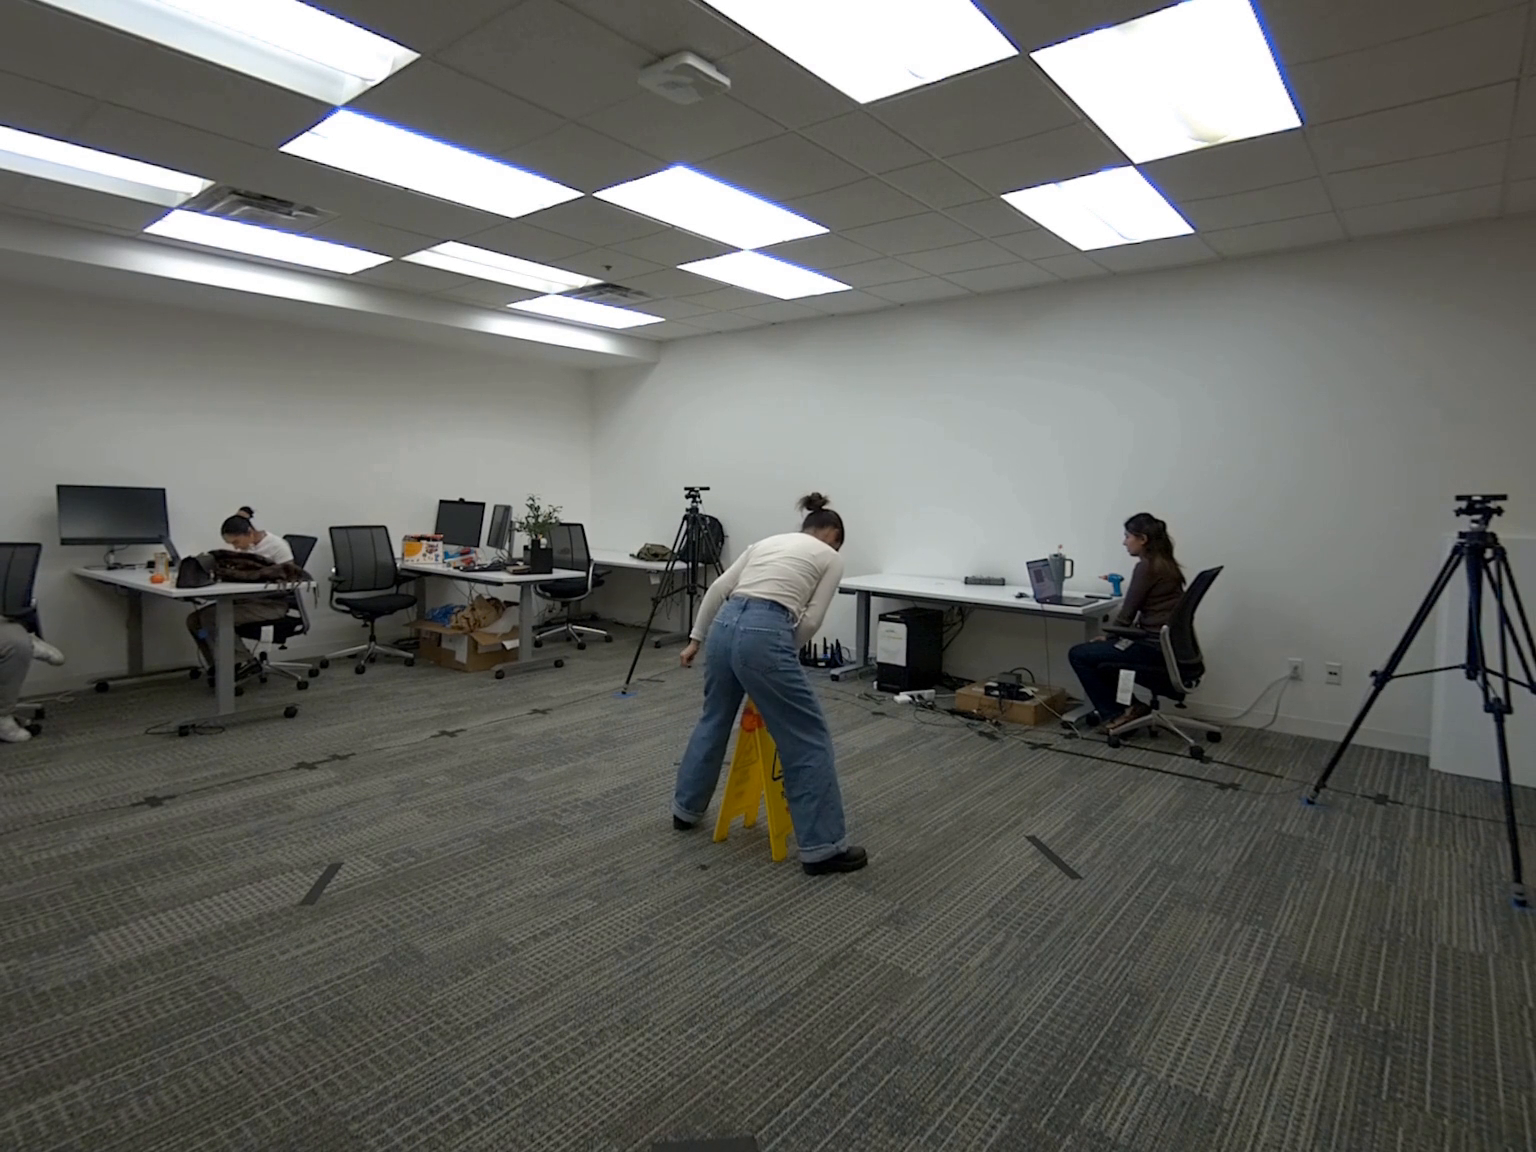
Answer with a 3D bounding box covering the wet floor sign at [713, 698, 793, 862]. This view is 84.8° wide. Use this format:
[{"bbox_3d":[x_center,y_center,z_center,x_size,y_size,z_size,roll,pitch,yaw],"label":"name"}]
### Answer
[{"bbox_3d":[-0.016,0.726,3.346,0.299,0.644,0.274,4,4,35],"label":"wet floor sign"}]
